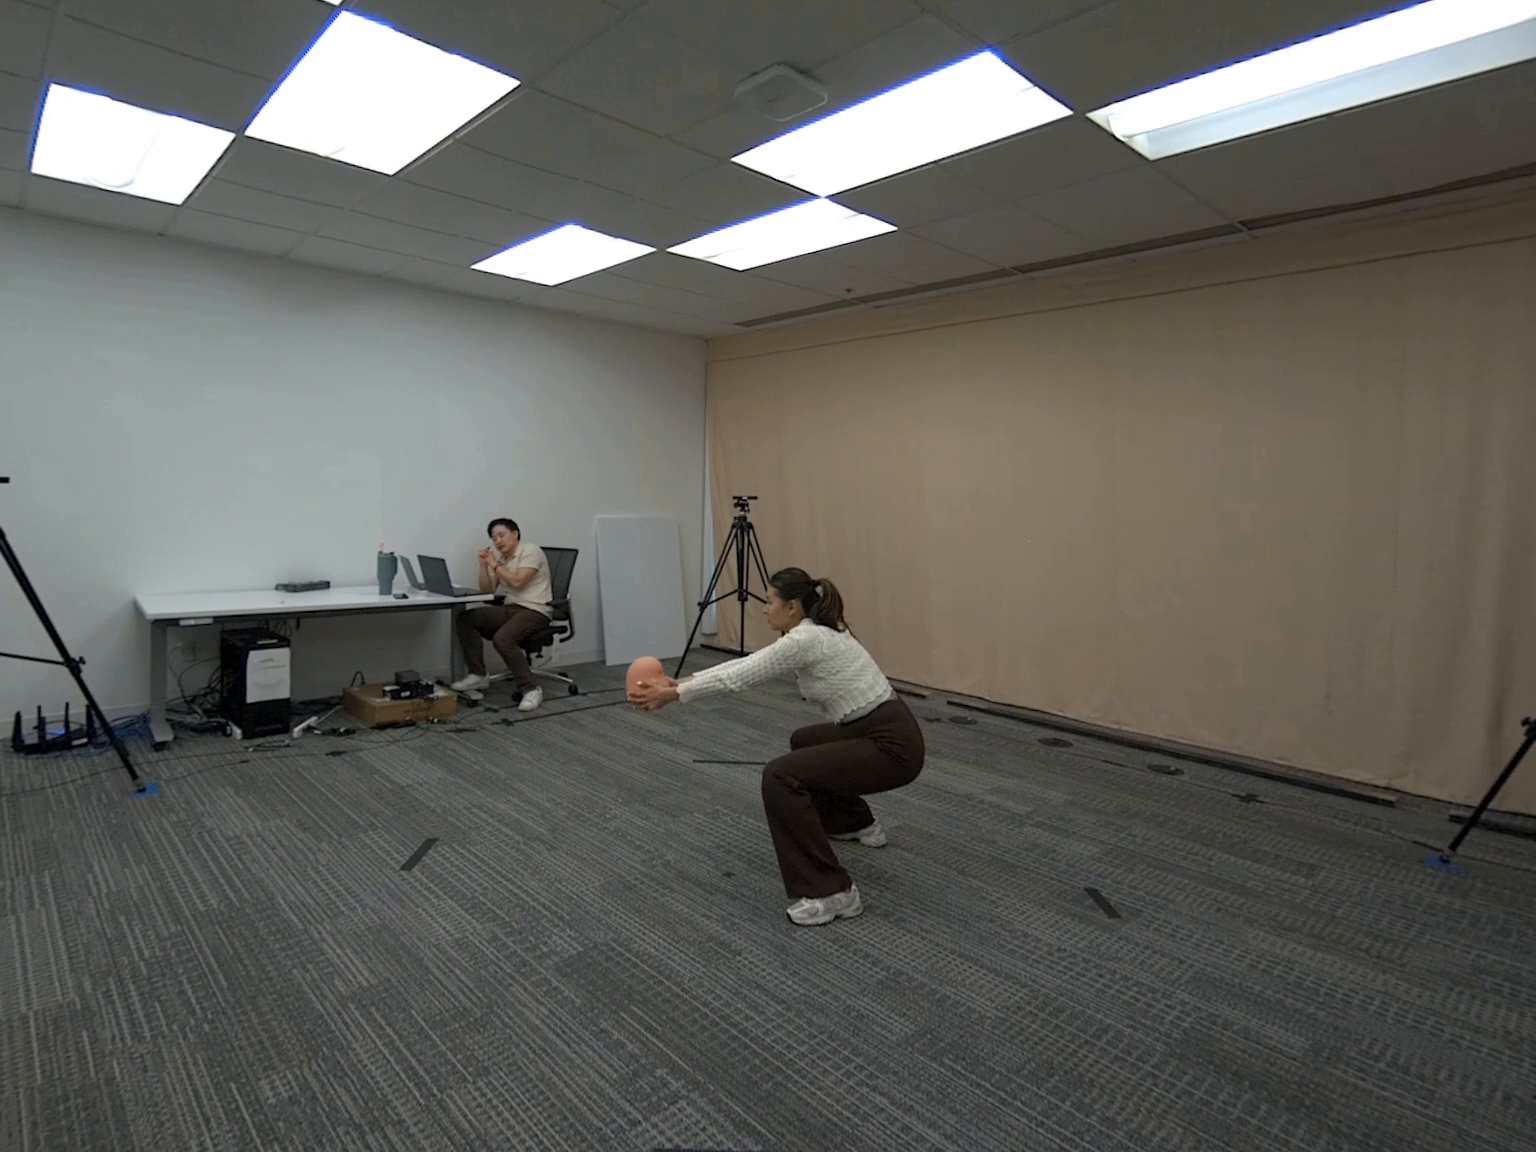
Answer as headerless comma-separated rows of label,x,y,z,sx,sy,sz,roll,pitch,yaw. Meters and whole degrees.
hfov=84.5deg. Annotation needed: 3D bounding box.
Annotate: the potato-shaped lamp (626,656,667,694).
potato-shaped lamp,-0.469,0.409,3.292,0.173,0.197,0.163,5,6,13
